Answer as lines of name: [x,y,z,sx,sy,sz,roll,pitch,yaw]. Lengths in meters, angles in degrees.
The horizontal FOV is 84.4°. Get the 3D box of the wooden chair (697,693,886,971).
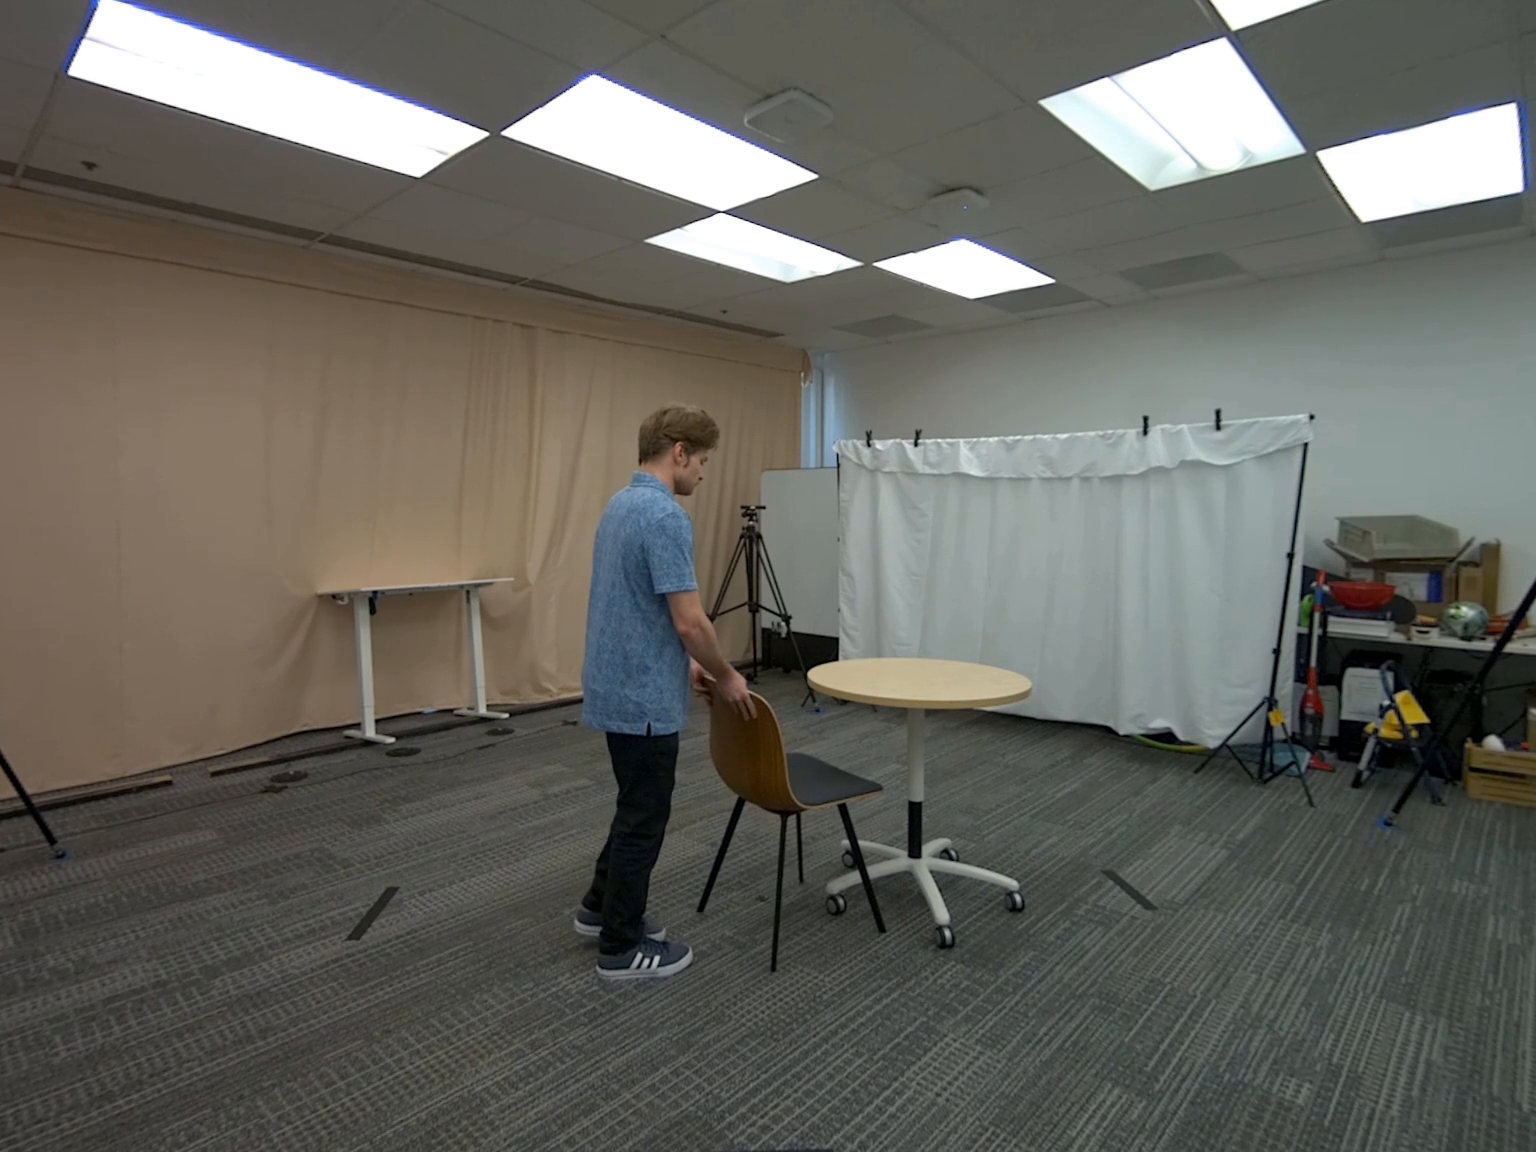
wooden chair: [0.080,0.732,2.792,0.509,0.874,0.493,-7,7,-33]
